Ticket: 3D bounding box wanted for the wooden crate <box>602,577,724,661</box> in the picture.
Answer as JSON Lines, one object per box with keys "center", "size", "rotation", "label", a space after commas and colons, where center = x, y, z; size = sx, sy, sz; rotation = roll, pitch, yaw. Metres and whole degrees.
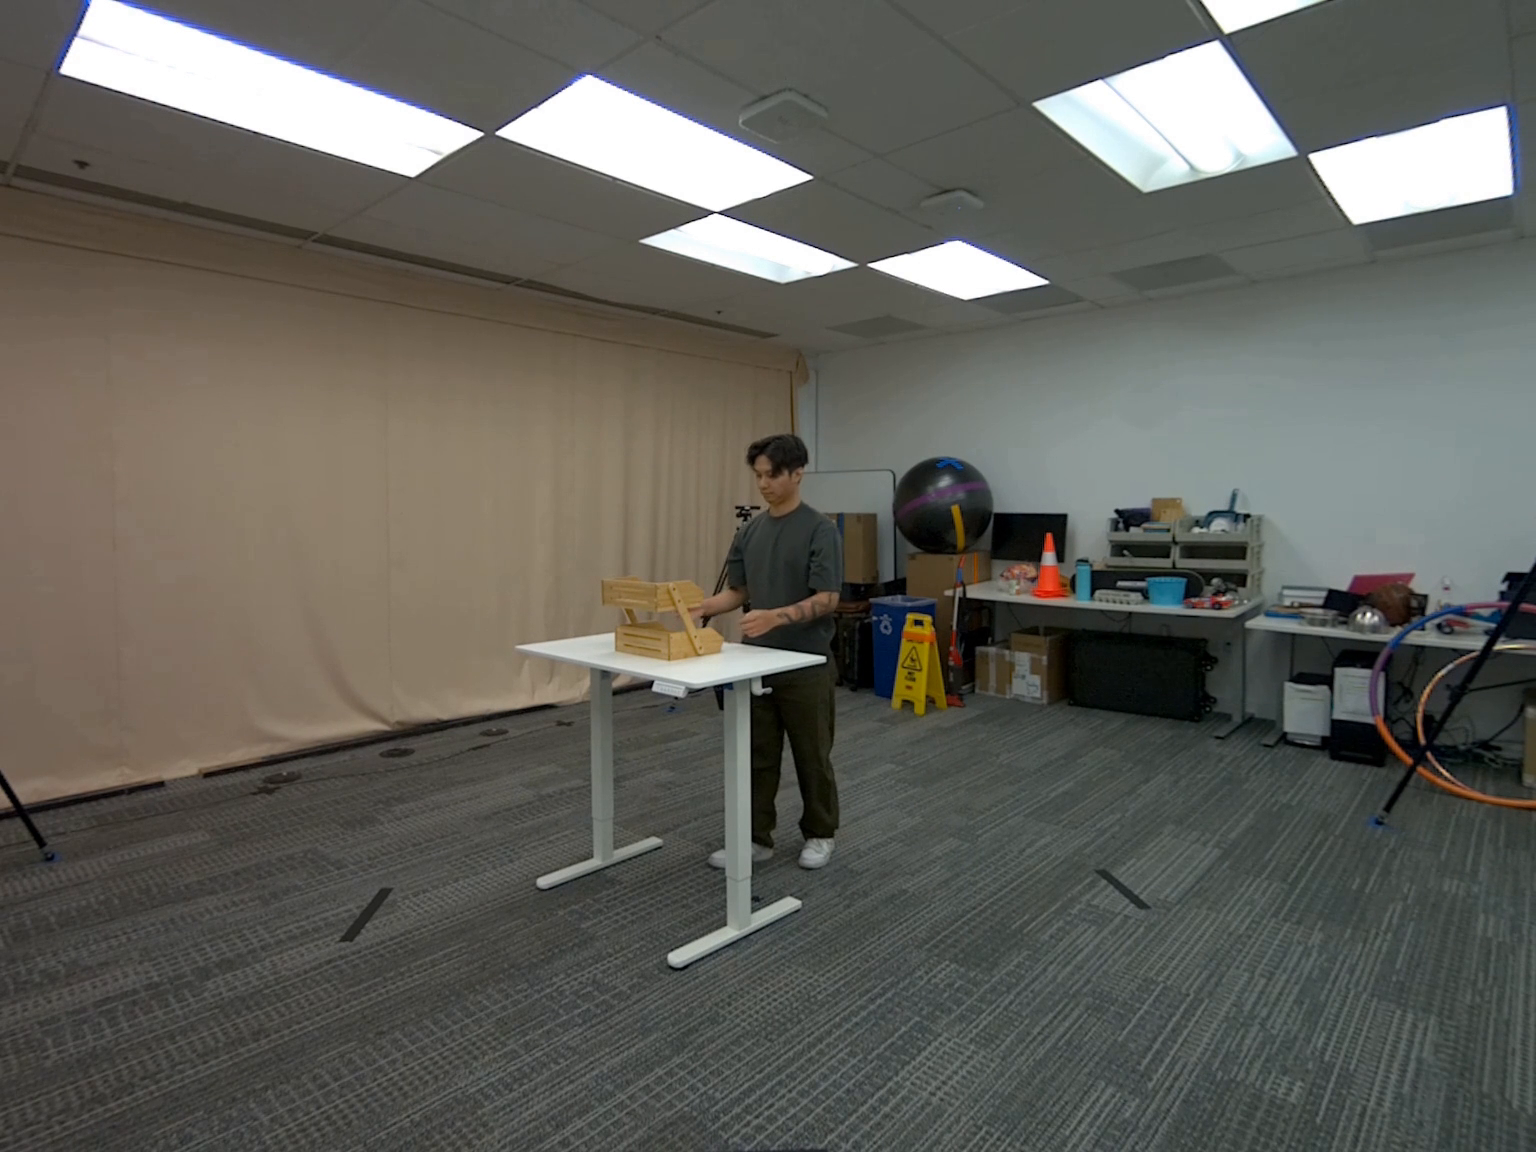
{"center": [-0.365, 0.137, 2.946], "size": [0.335, 0.273, 0.293], "rotation": [2, 5, 44], "label": "wooden crate"}
